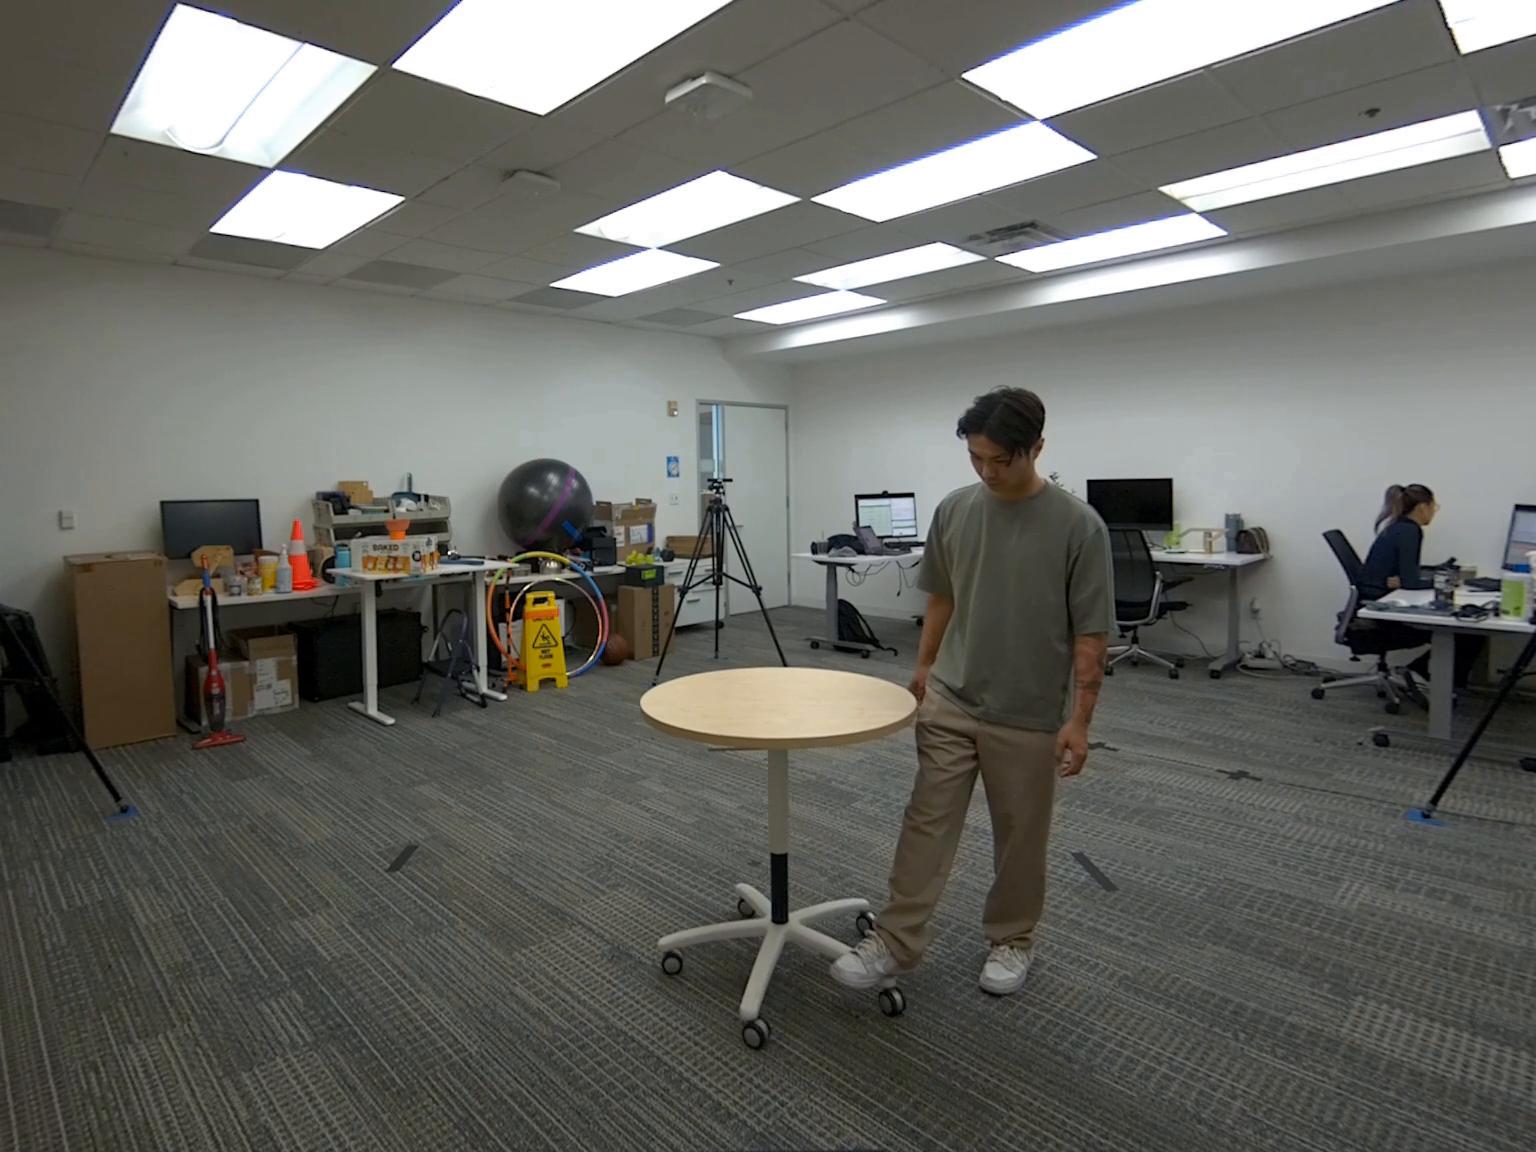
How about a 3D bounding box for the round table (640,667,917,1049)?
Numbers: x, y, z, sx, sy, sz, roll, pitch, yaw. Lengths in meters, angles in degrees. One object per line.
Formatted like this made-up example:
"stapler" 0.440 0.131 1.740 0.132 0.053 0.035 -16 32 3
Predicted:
"round table" 0.031 0.726 2.440 0.784 0.783 0.790 -1 6 -2
